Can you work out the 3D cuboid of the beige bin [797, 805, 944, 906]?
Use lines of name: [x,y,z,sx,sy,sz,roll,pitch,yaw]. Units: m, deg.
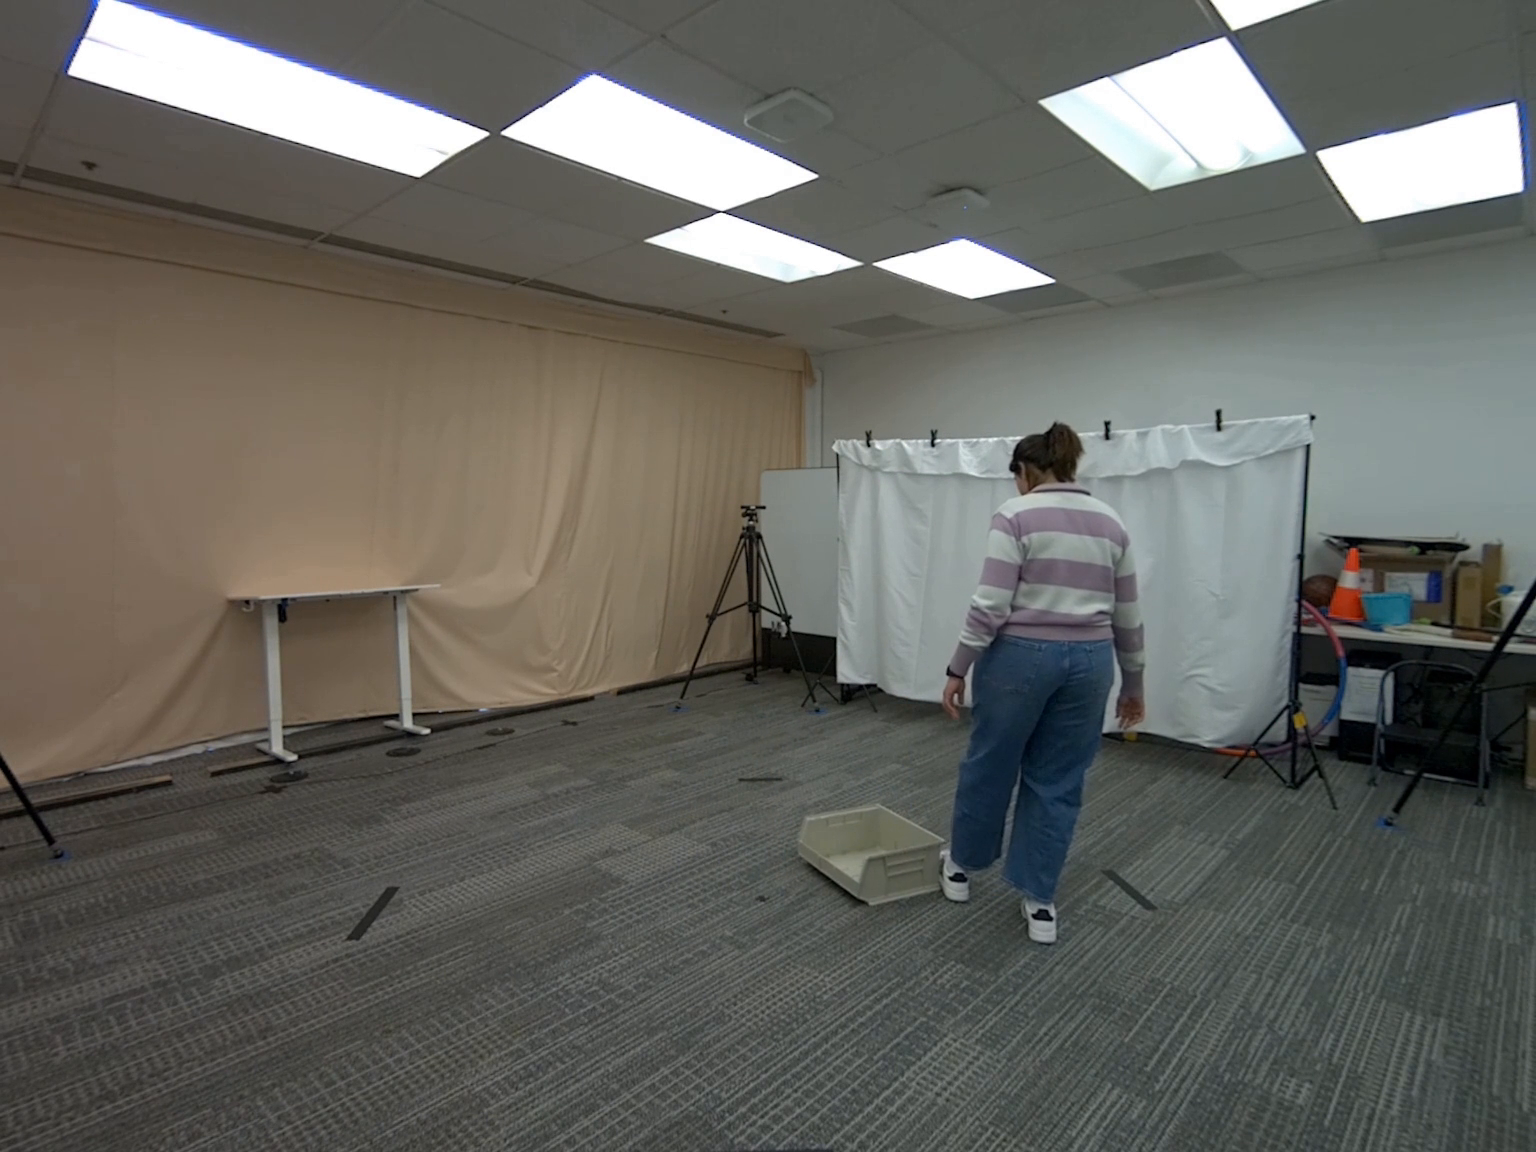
beige bin: [0.376,1.040,3.159,0.368,0.188,0.434,-1,4,-26]
